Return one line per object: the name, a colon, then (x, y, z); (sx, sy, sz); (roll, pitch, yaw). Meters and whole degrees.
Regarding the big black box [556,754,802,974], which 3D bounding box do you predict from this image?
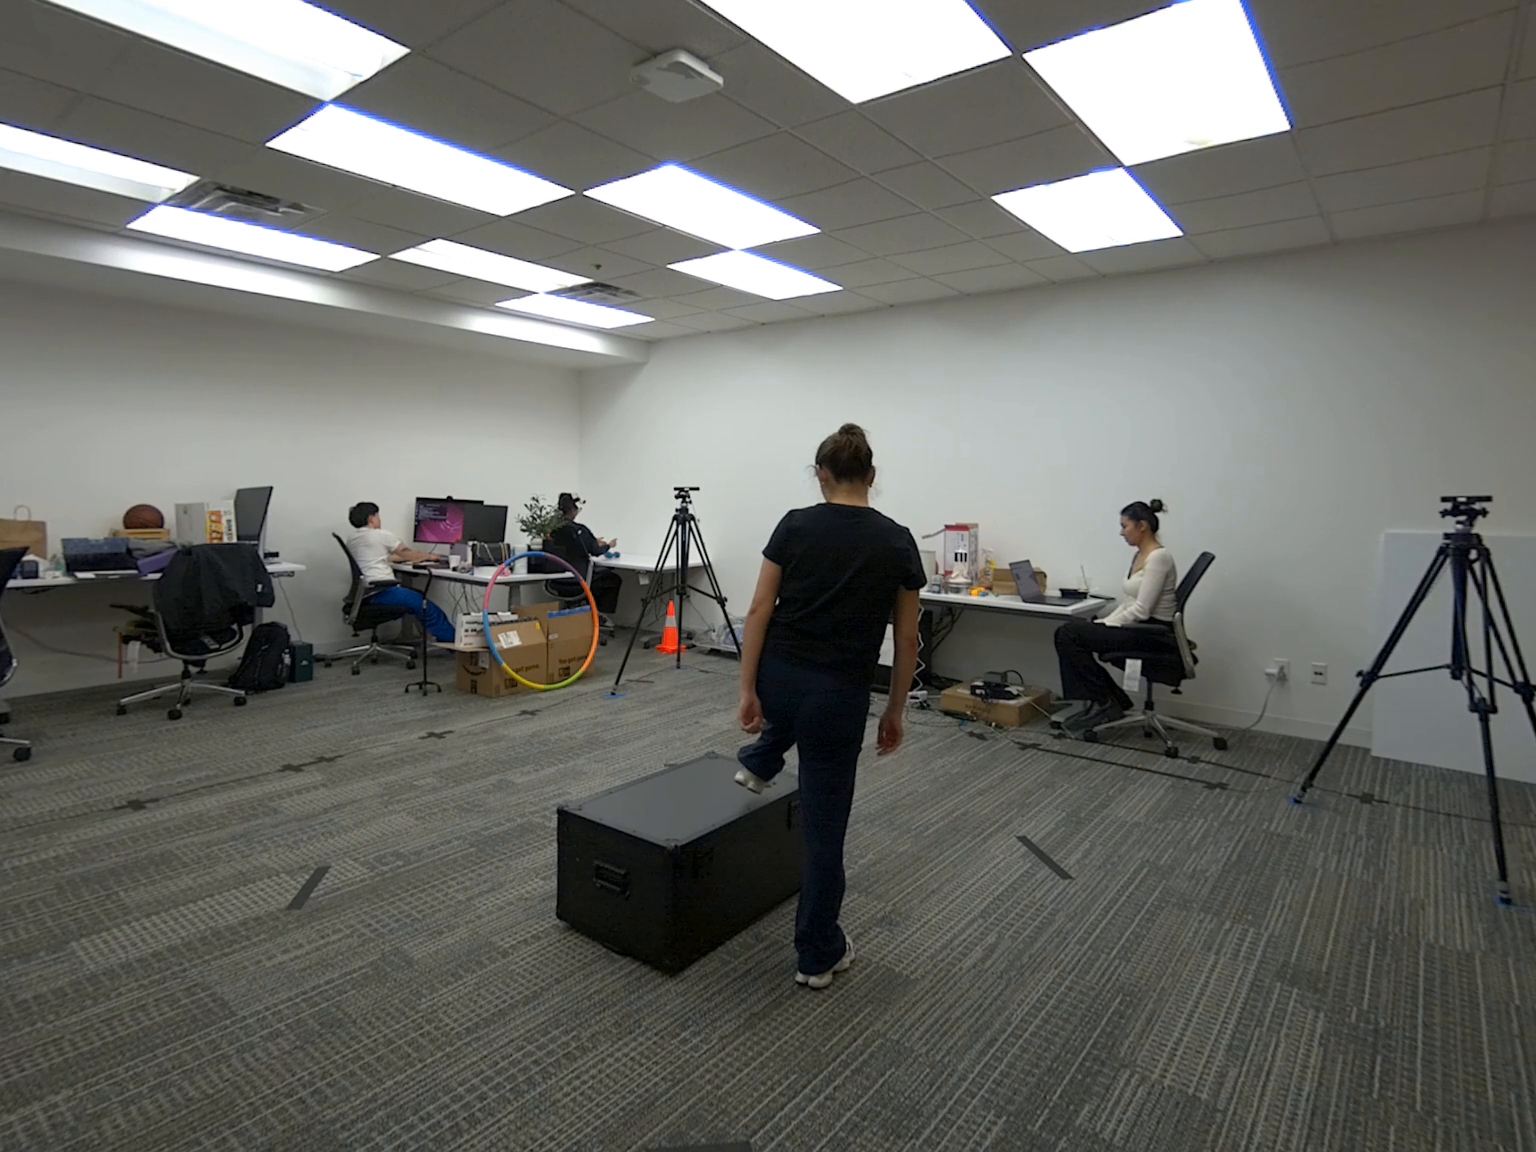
big black box: (-0.218, 0.899, 2.868); (0.538, 0.394, 0.837); (5, 7, 36)
